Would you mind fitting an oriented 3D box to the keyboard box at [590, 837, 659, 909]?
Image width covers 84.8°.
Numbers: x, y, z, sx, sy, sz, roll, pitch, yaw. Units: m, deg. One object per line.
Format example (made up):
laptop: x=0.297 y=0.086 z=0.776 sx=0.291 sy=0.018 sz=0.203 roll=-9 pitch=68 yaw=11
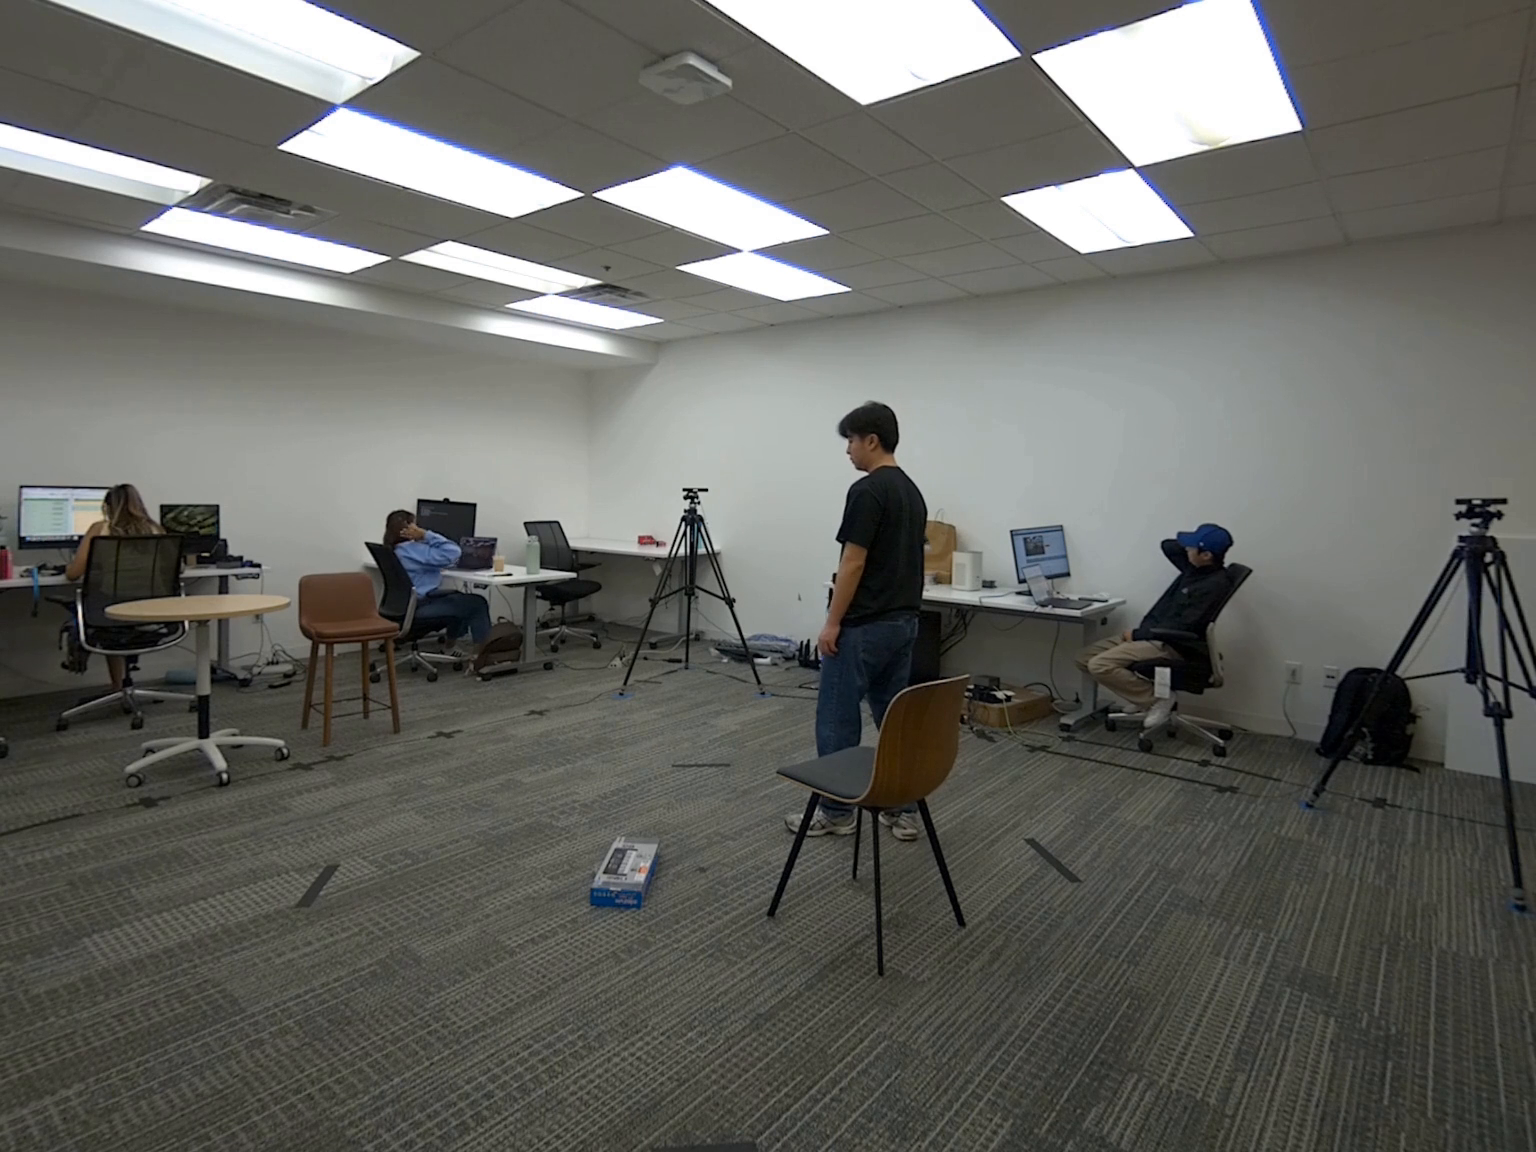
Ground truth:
keyboard box: x=-0.510 y=1.044 z=3.027 sx=0.176 sy=0.059 sz=0.437 roll=2 pitch=5 yaw=2
